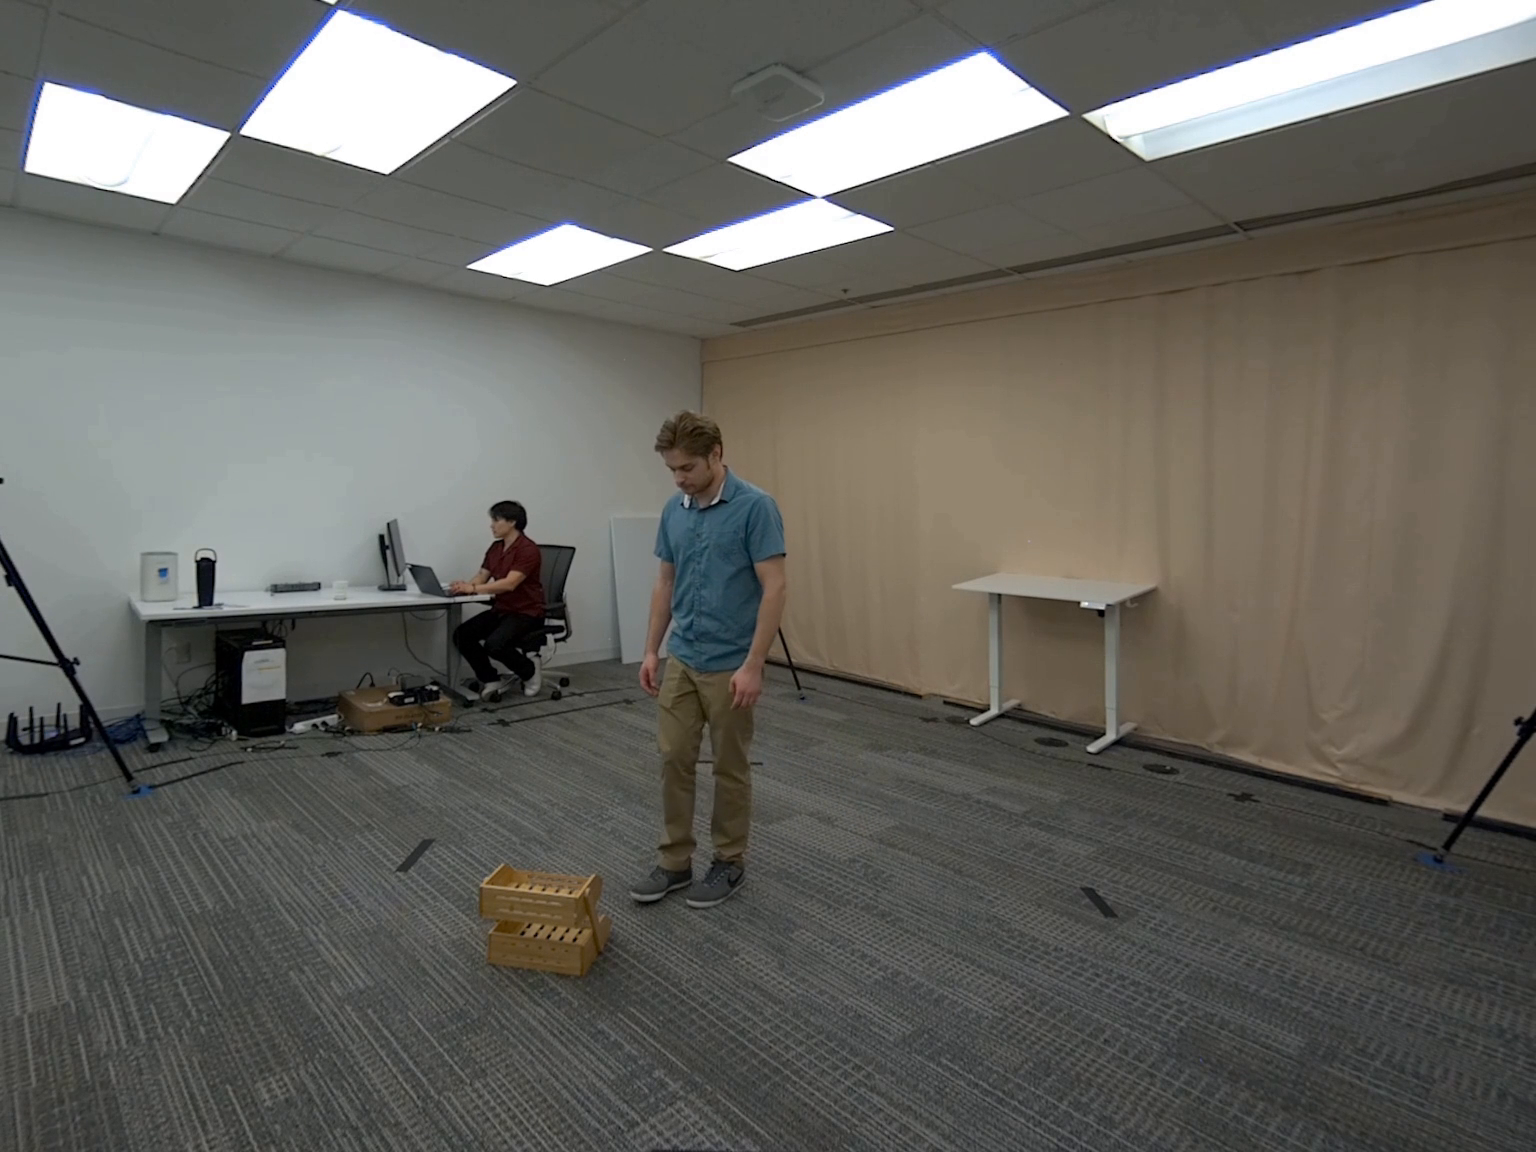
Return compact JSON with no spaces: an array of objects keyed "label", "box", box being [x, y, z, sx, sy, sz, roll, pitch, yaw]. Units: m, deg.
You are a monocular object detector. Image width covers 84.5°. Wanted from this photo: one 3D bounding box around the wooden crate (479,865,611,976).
[{"label":"wooden crate","box":[-0.671,1.009,2.551,0.327,0.272,0.300,2,5,9]}]
